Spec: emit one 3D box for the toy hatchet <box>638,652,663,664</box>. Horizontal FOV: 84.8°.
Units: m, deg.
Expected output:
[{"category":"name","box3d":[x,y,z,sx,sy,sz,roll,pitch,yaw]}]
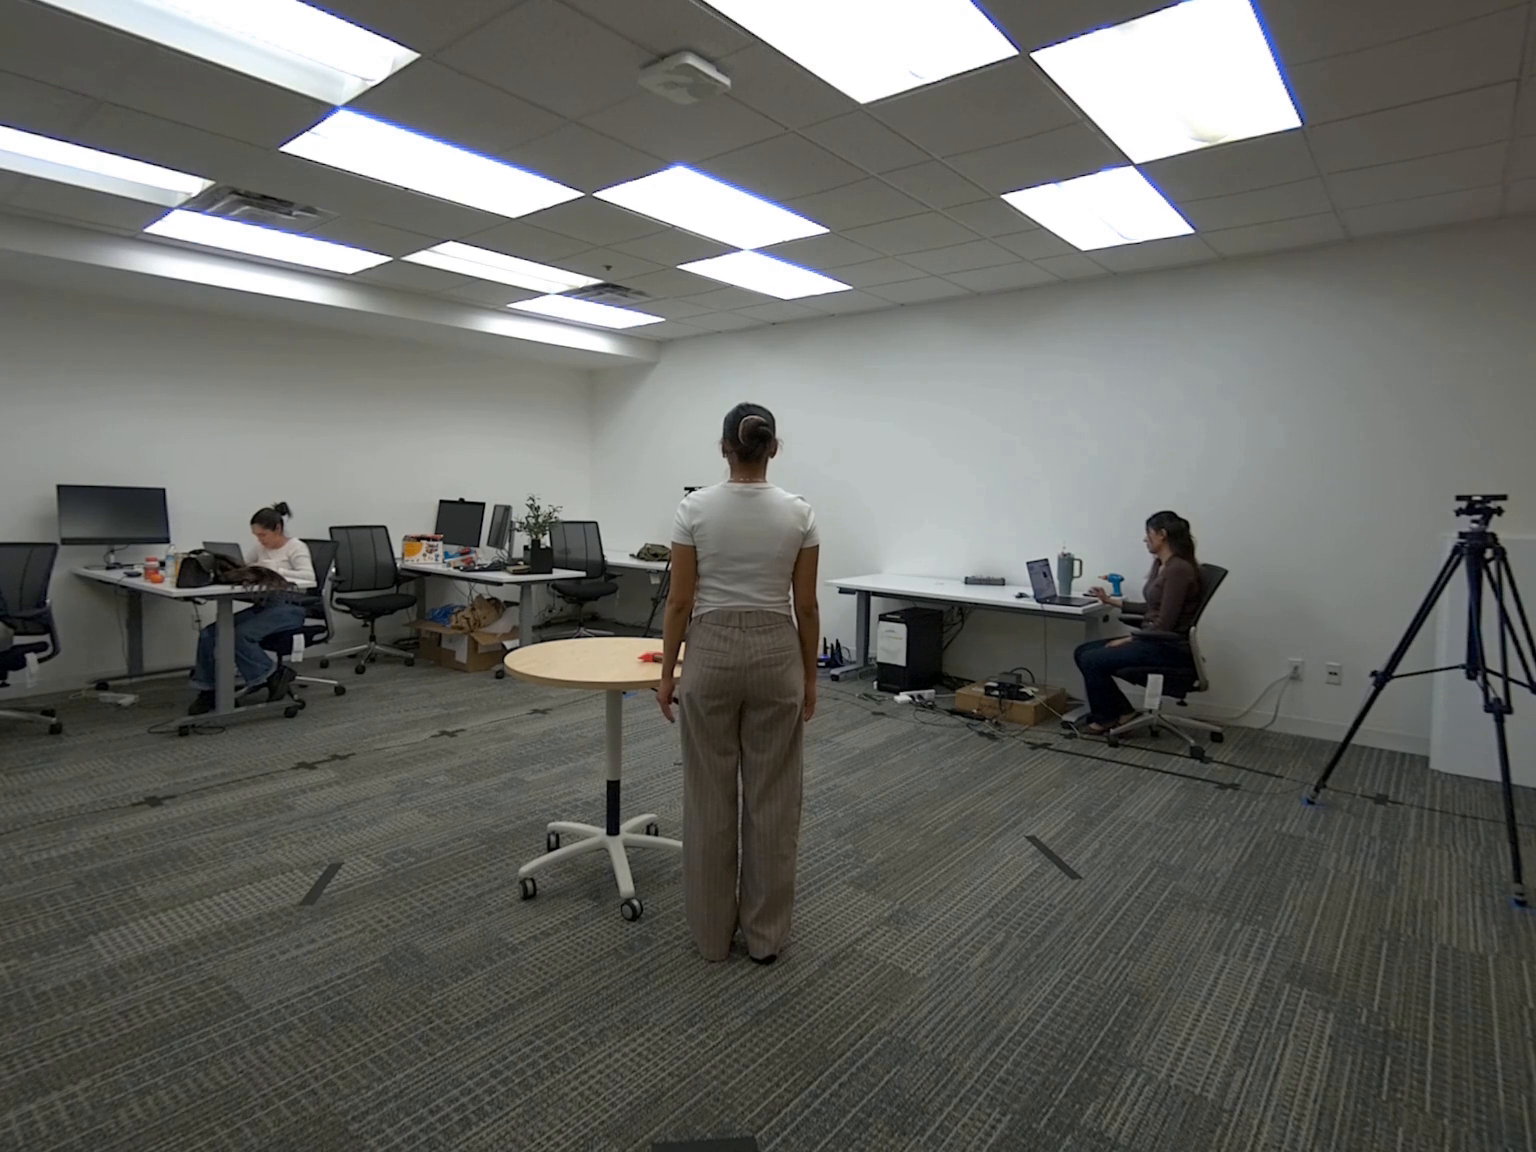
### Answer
[{"category":"toy hatchet","box3d":[-0.319,0.289,2.943,0.276,0.029,0.128,5,2,19]}]
